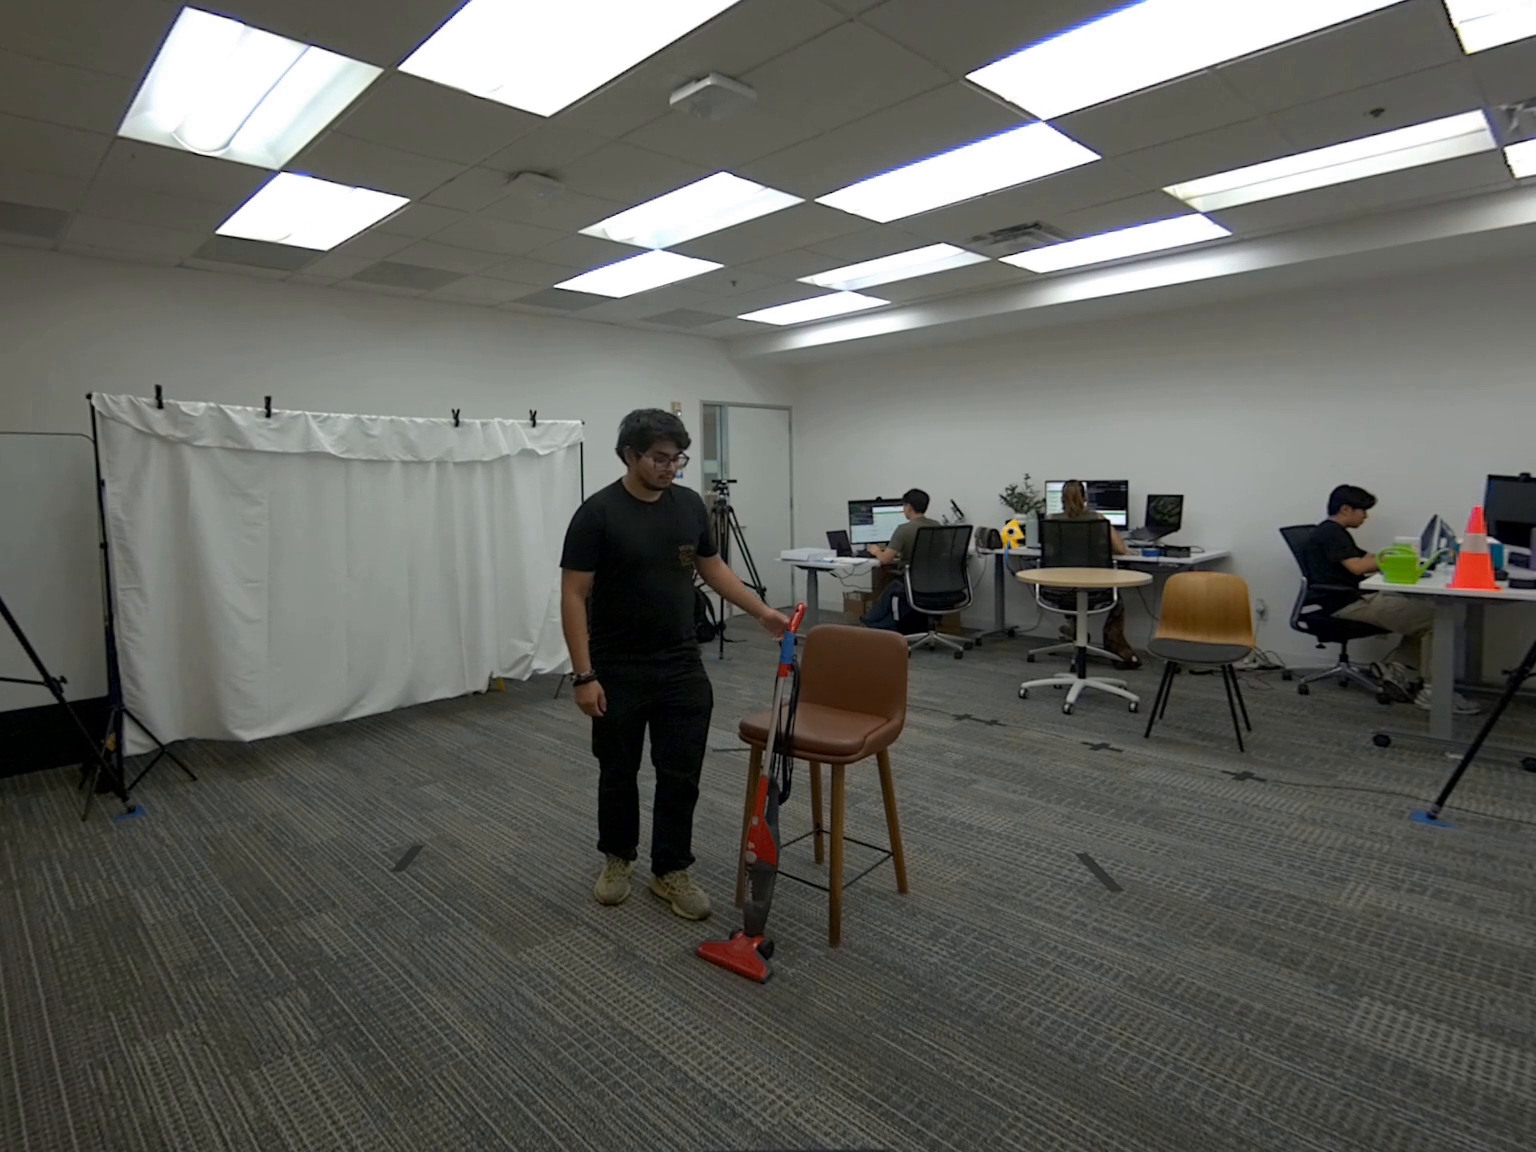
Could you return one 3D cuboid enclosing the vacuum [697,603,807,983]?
[{"bbox_3d":[0.024,0.615,2.595,0.260,1.057,0.139,4,-13,36],"label":"vacuum"}]
